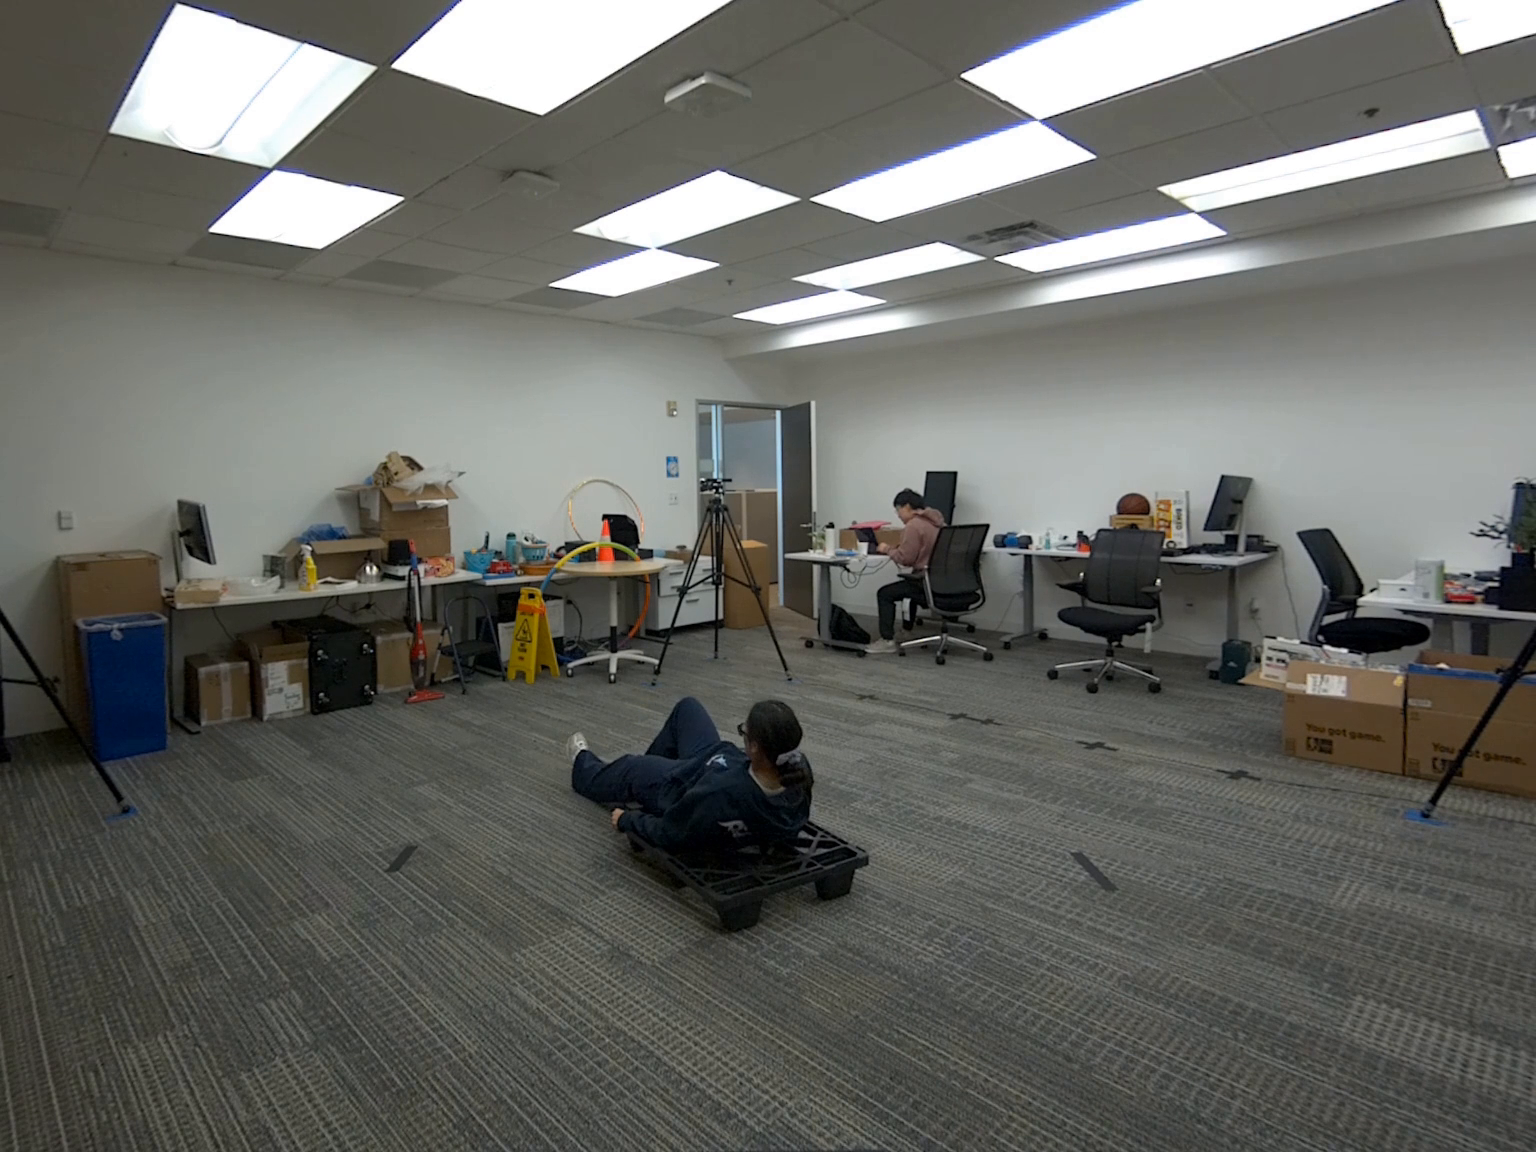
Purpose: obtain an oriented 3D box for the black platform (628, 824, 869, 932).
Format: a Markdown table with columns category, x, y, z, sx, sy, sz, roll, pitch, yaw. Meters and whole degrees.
| category | x | y | z | sx | sy | sz | roll | pitch | yaw |
| --- | --- | --- | --- | --- | --- | --- | --- | --- | --- |
| black platform | -0.126 | 0.989 | 3.048 | 0.591 | 0.143 | 0.828 | -5 | 7 | -31 |
